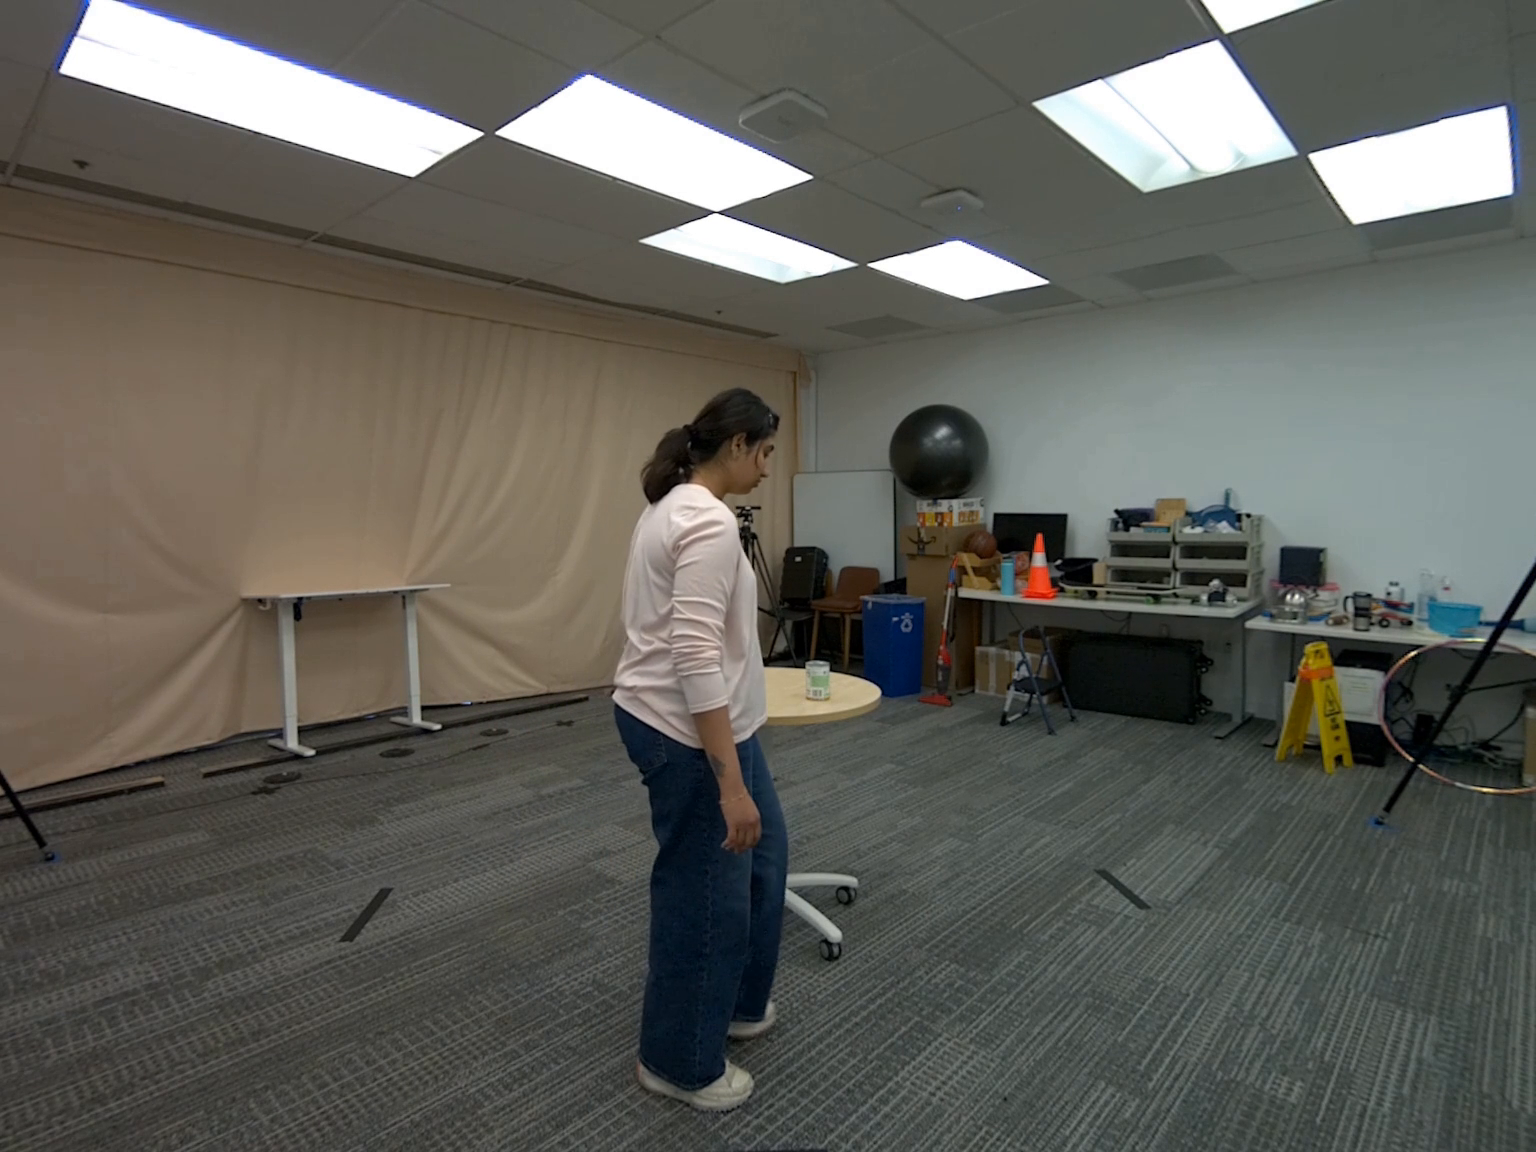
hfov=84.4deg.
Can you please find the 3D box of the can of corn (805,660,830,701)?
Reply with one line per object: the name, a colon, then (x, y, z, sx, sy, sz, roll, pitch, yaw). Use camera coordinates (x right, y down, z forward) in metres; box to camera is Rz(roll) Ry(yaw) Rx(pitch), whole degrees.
can of corn: (0.166, 0.332, 2.639, 0.074, 0.111, 0.074, -1, 4, -2)
